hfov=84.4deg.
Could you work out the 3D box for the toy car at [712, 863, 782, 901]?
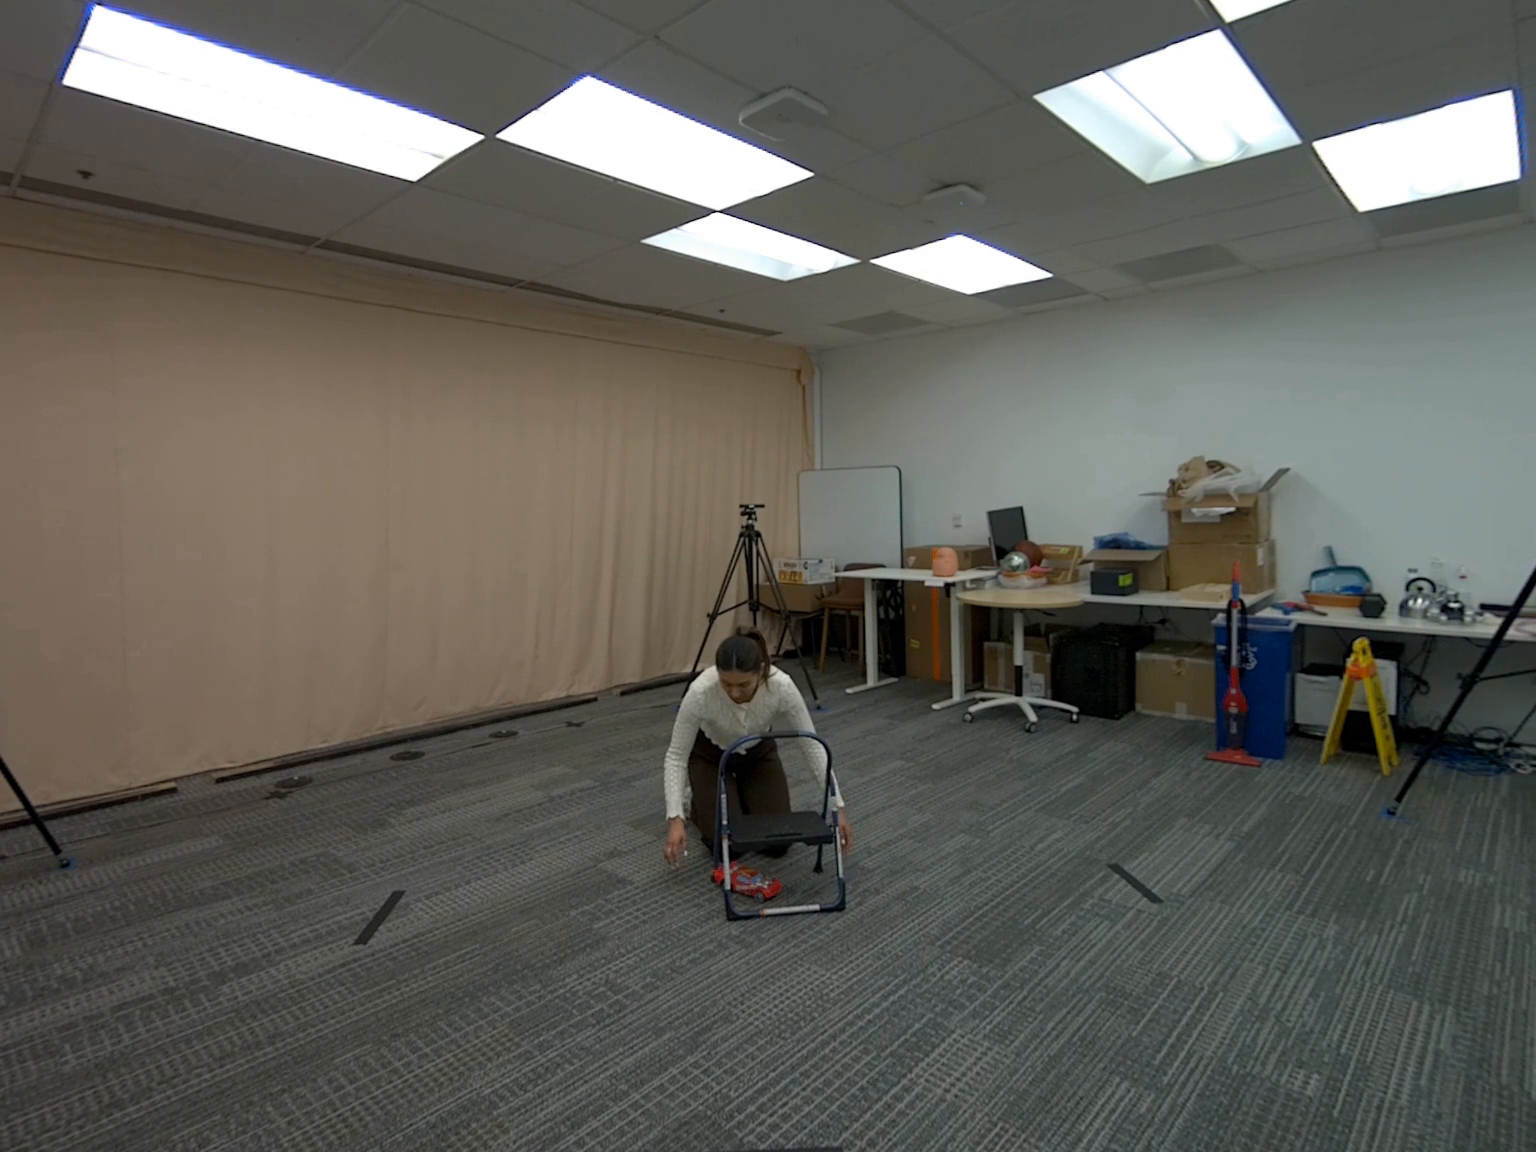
[{"bbox_3d":[-0.078,1.101,3.044,0.263,0.083,0.127,13,14,34],"label":"toy car"}]
